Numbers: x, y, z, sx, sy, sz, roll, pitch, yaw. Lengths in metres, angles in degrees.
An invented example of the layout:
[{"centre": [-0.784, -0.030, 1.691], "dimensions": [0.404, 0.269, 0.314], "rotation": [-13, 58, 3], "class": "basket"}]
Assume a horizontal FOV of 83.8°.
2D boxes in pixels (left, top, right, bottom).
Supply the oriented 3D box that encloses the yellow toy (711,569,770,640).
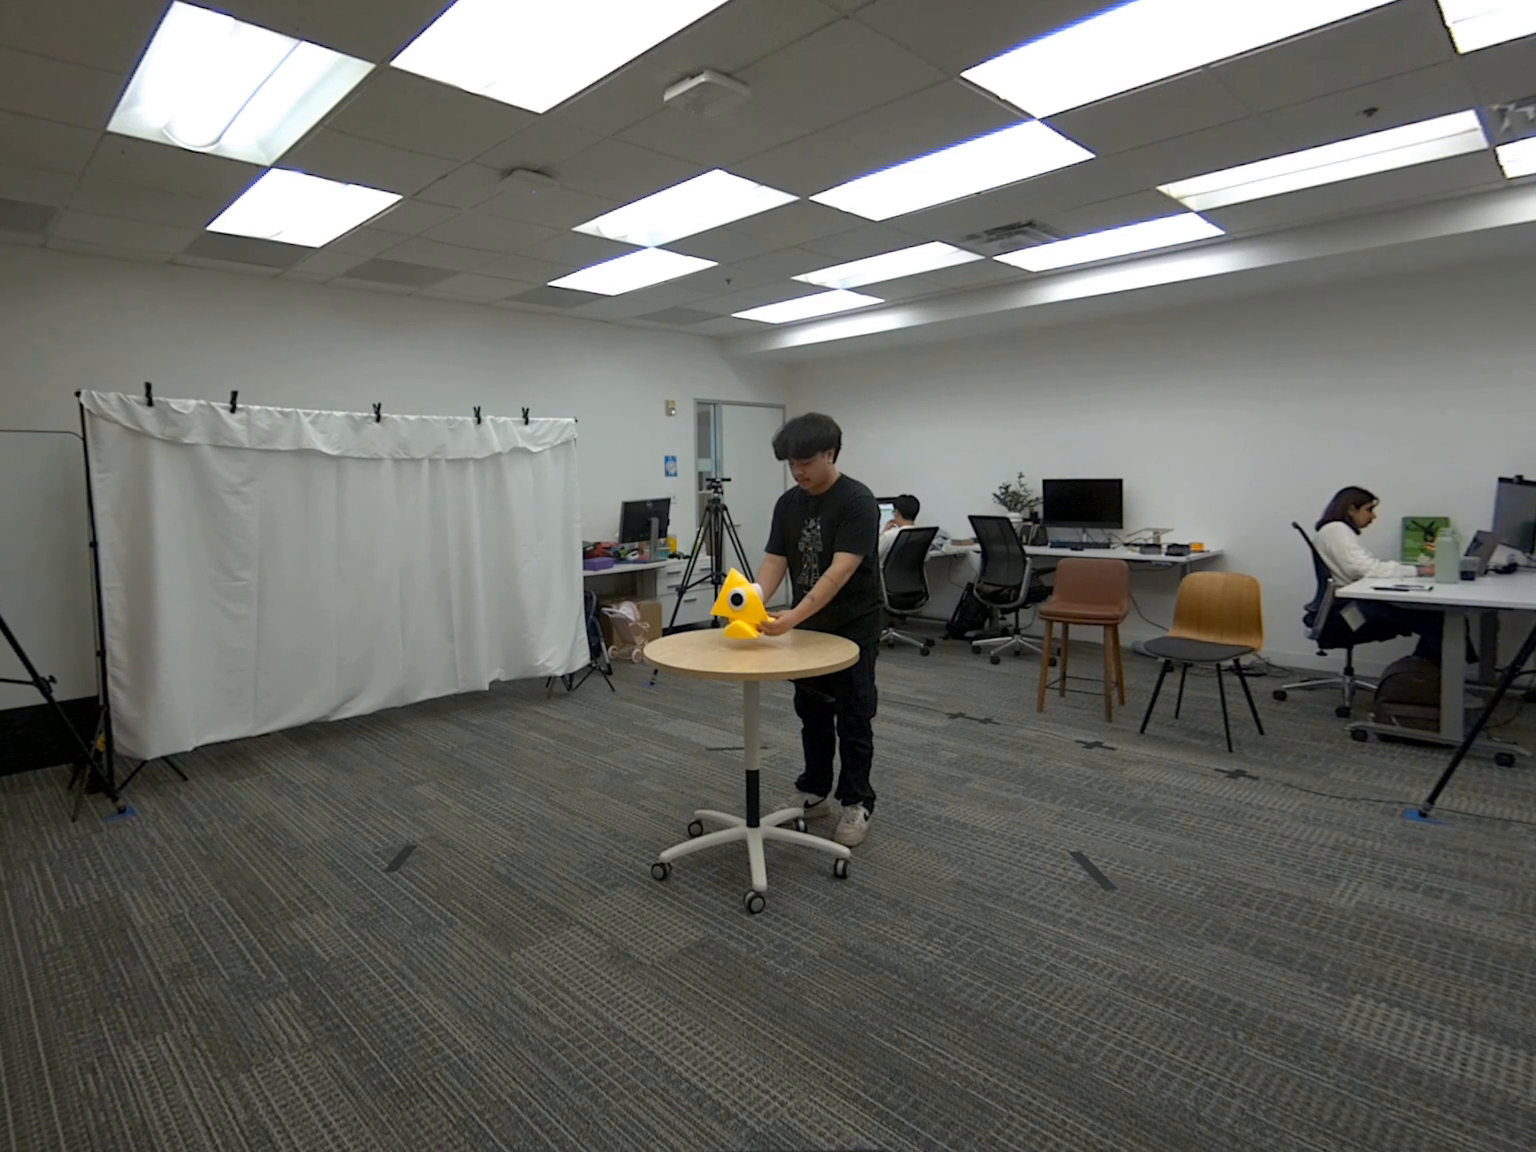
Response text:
[{"centre": [-0.073, 0.085, 3.060], "dimensions": [0.199, 0.229, 0.200], "rotation": [3, 10, 42], "class": "yellow toy"}]
